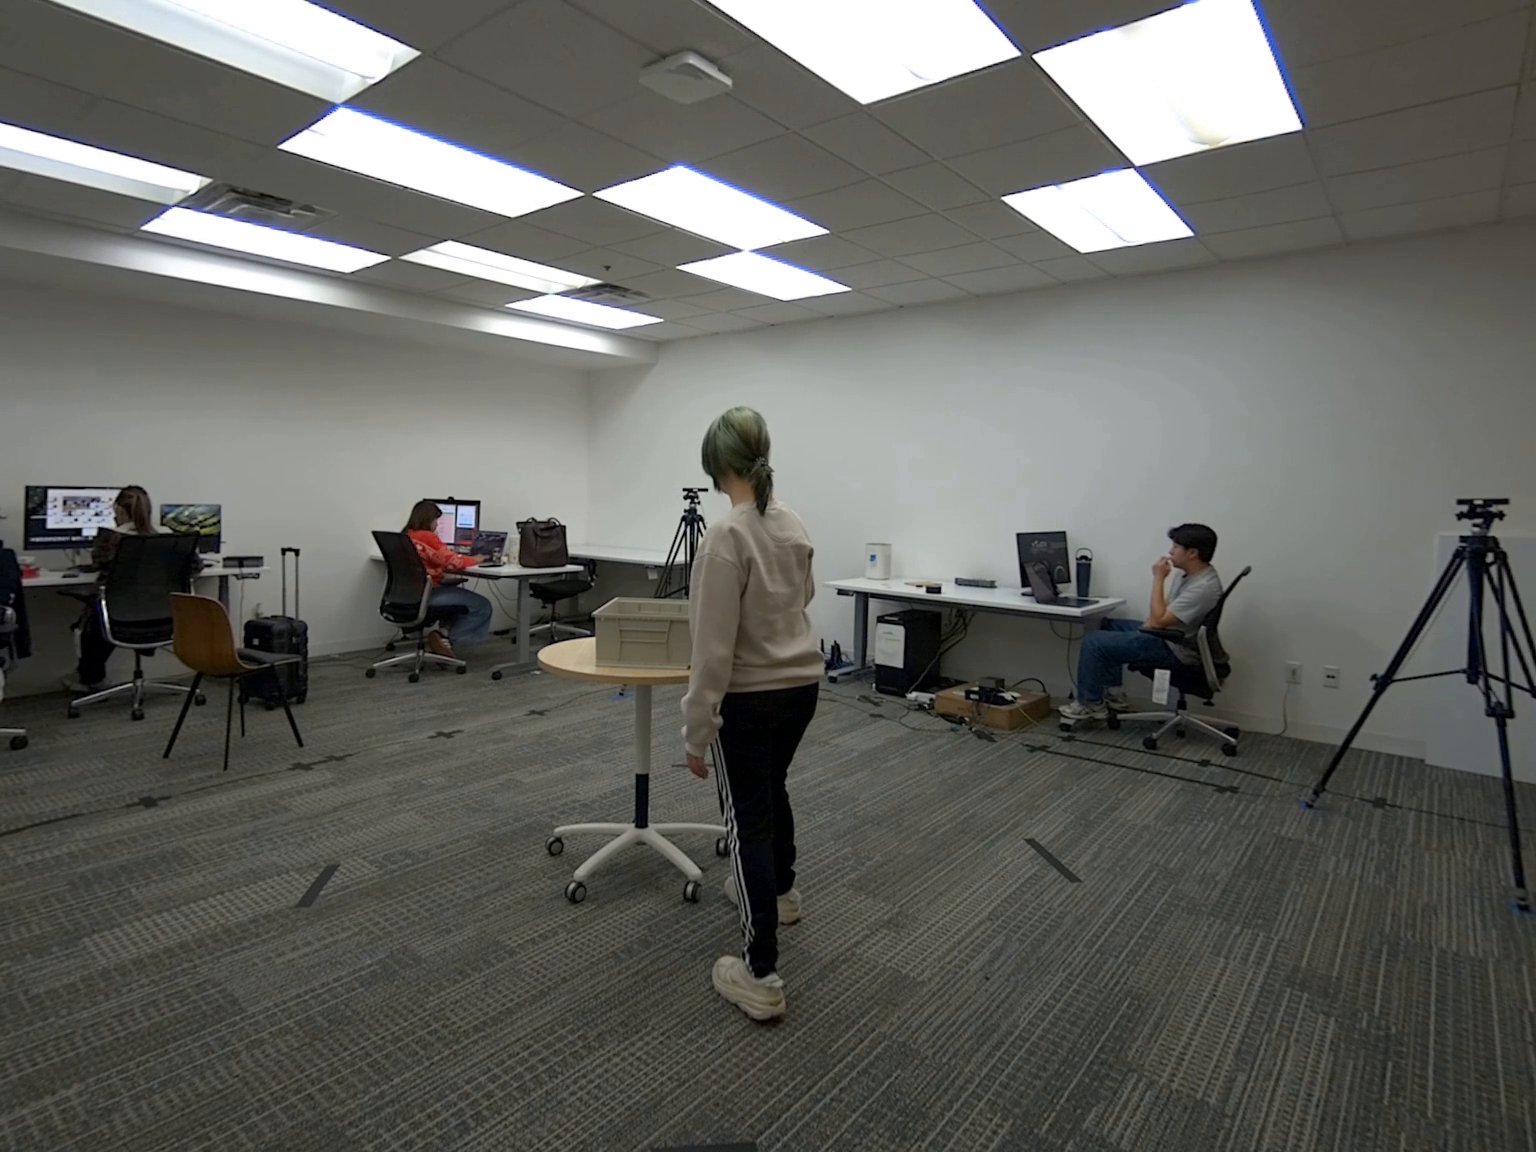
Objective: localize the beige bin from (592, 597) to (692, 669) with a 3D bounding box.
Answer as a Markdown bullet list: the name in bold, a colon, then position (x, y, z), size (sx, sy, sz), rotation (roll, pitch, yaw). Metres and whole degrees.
- **beige bin**: position (-0.411, 0.195, 3.052), size (0.378, 0.188, 0.423), rotation (-1, 6, 2)
